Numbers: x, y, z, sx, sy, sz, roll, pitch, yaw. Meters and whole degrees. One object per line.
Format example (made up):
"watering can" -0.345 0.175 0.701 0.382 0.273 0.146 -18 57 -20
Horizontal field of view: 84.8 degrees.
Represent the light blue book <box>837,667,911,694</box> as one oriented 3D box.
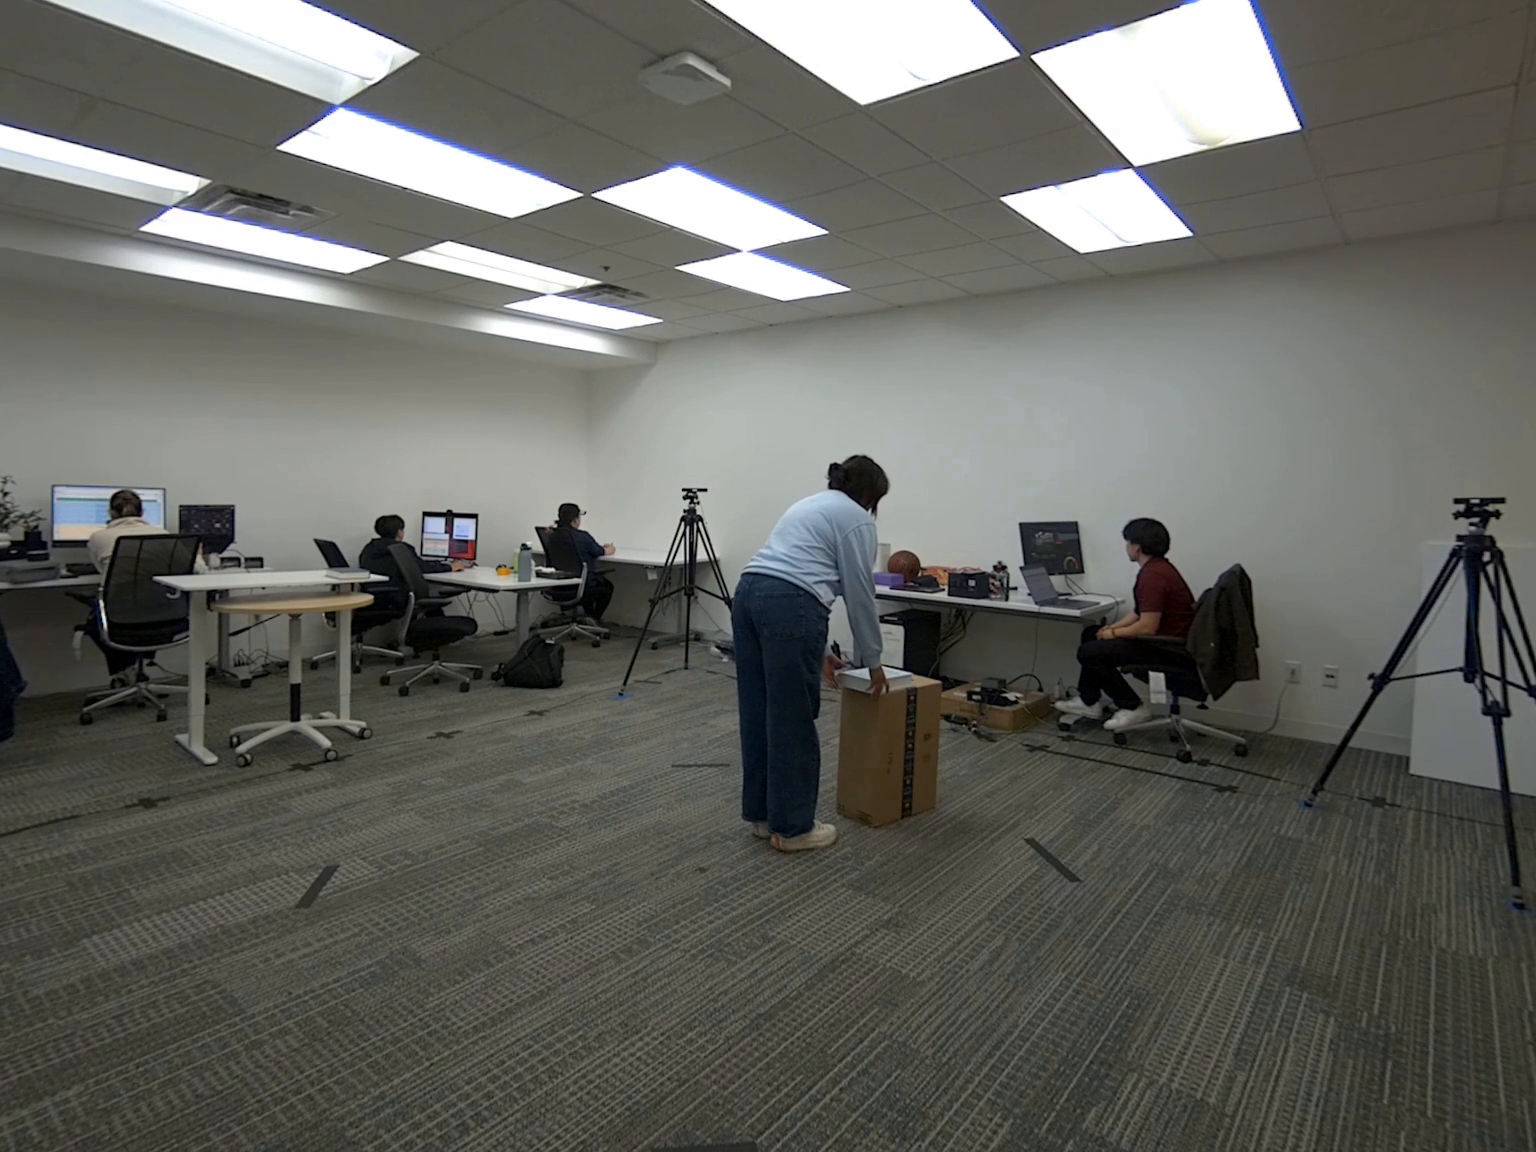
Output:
"light blue book" 0.455 0.437 3.632 0.253 0.059 0.198 -4 8 -41
